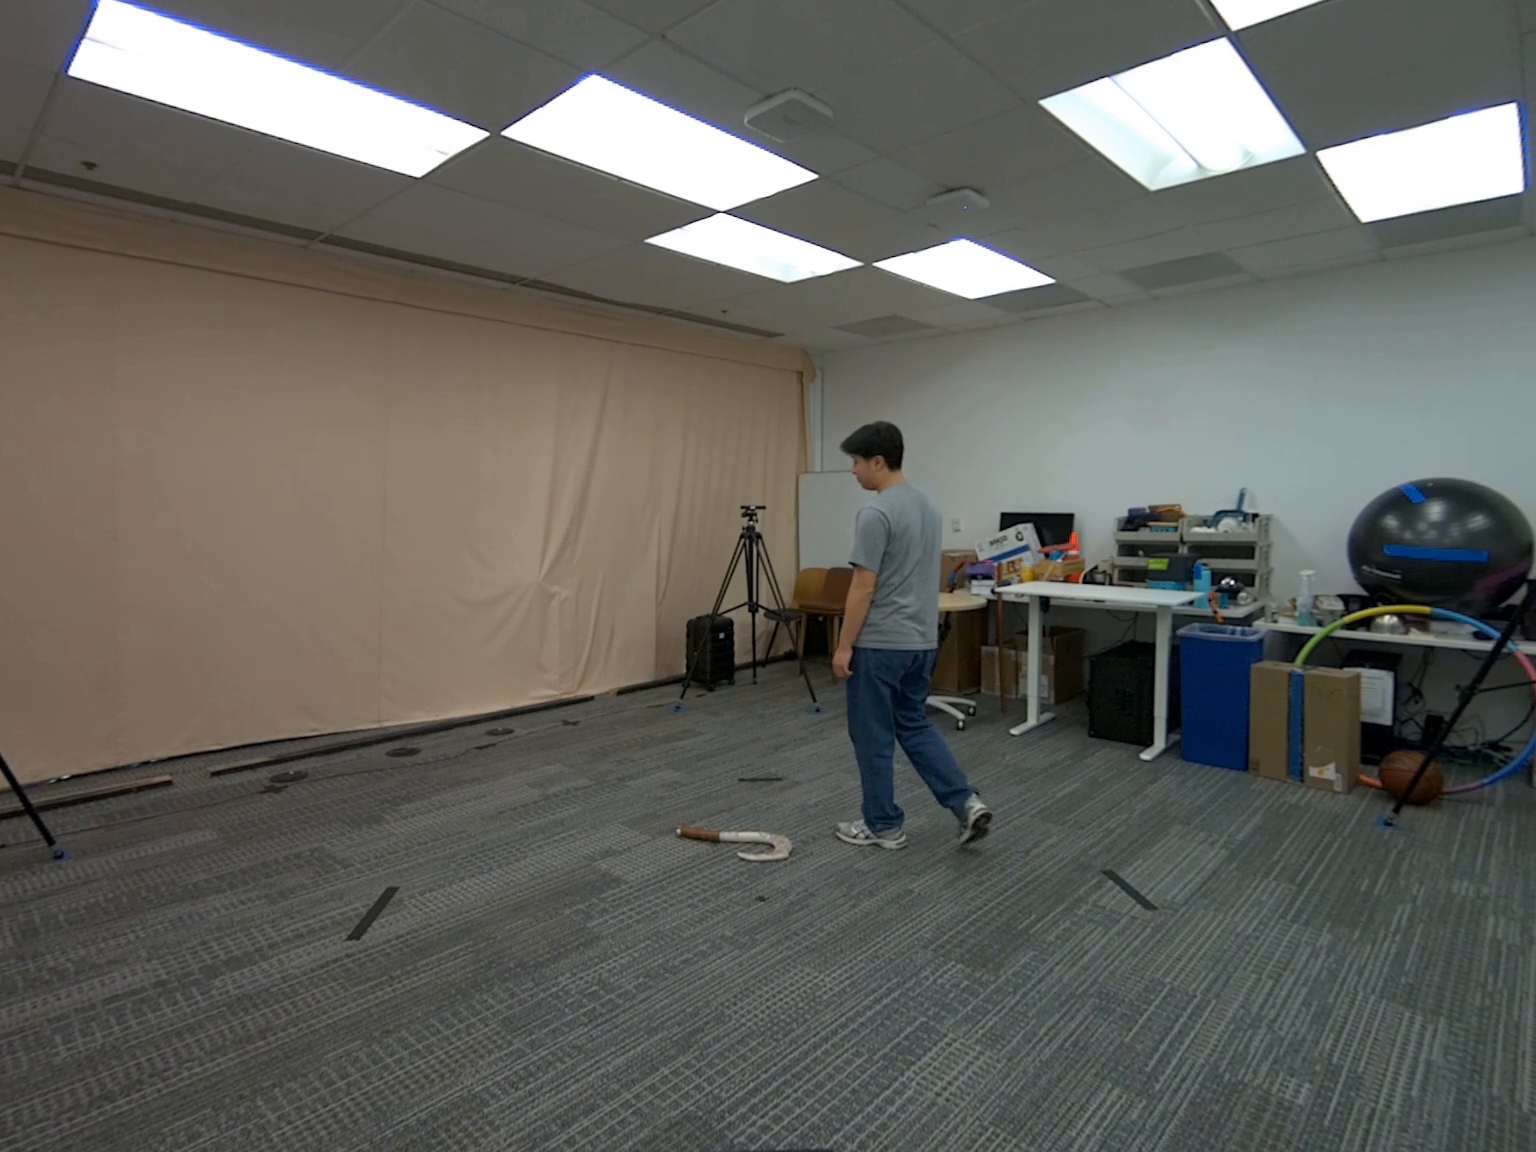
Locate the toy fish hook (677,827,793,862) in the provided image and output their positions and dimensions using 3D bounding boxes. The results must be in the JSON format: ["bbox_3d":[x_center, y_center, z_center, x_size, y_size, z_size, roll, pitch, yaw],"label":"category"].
[{"bbox_3d":[-0.156,1.087,3.429,0.515,0.048,0.221,0,4,16],"label":"toy fish hook"}]
